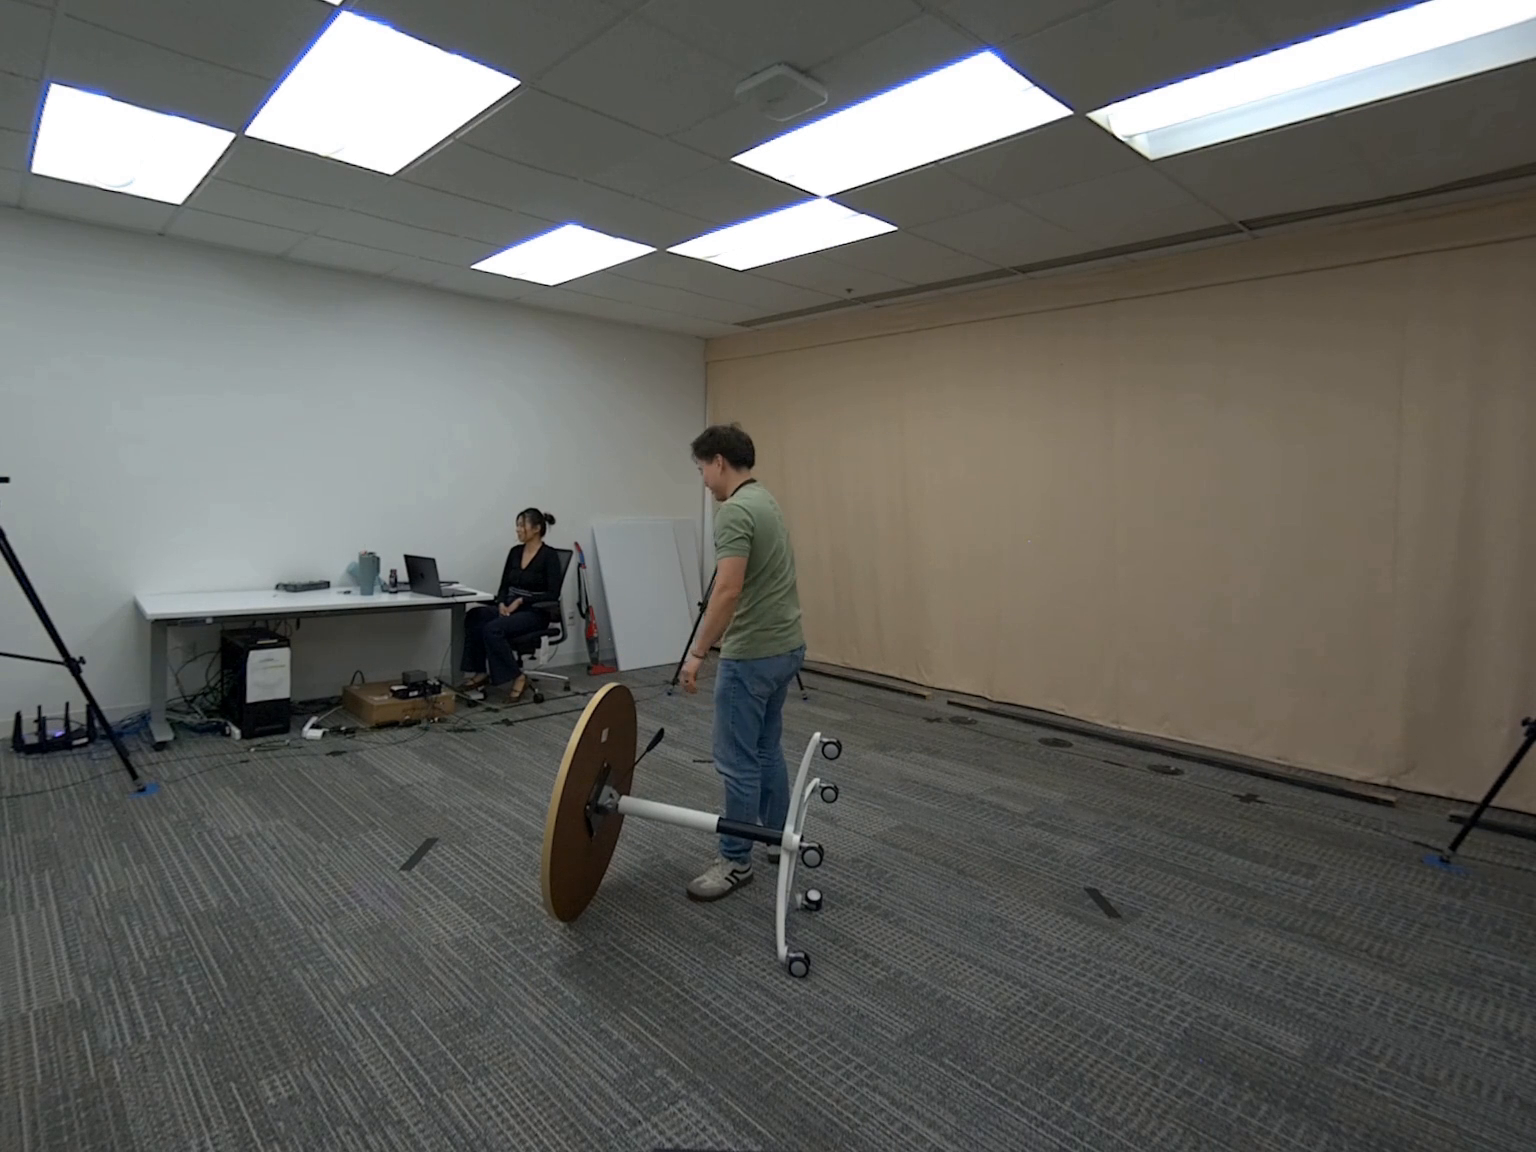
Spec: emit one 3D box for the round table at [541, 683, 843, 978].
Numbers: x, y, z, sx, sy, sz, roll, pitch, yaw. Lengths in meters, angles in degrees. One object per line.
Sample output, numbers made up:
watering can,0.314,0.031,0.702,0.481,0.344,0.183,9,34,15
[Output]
round table,-0.203,0.802,2.721,0.801,0.761,0.760,8,5,9
